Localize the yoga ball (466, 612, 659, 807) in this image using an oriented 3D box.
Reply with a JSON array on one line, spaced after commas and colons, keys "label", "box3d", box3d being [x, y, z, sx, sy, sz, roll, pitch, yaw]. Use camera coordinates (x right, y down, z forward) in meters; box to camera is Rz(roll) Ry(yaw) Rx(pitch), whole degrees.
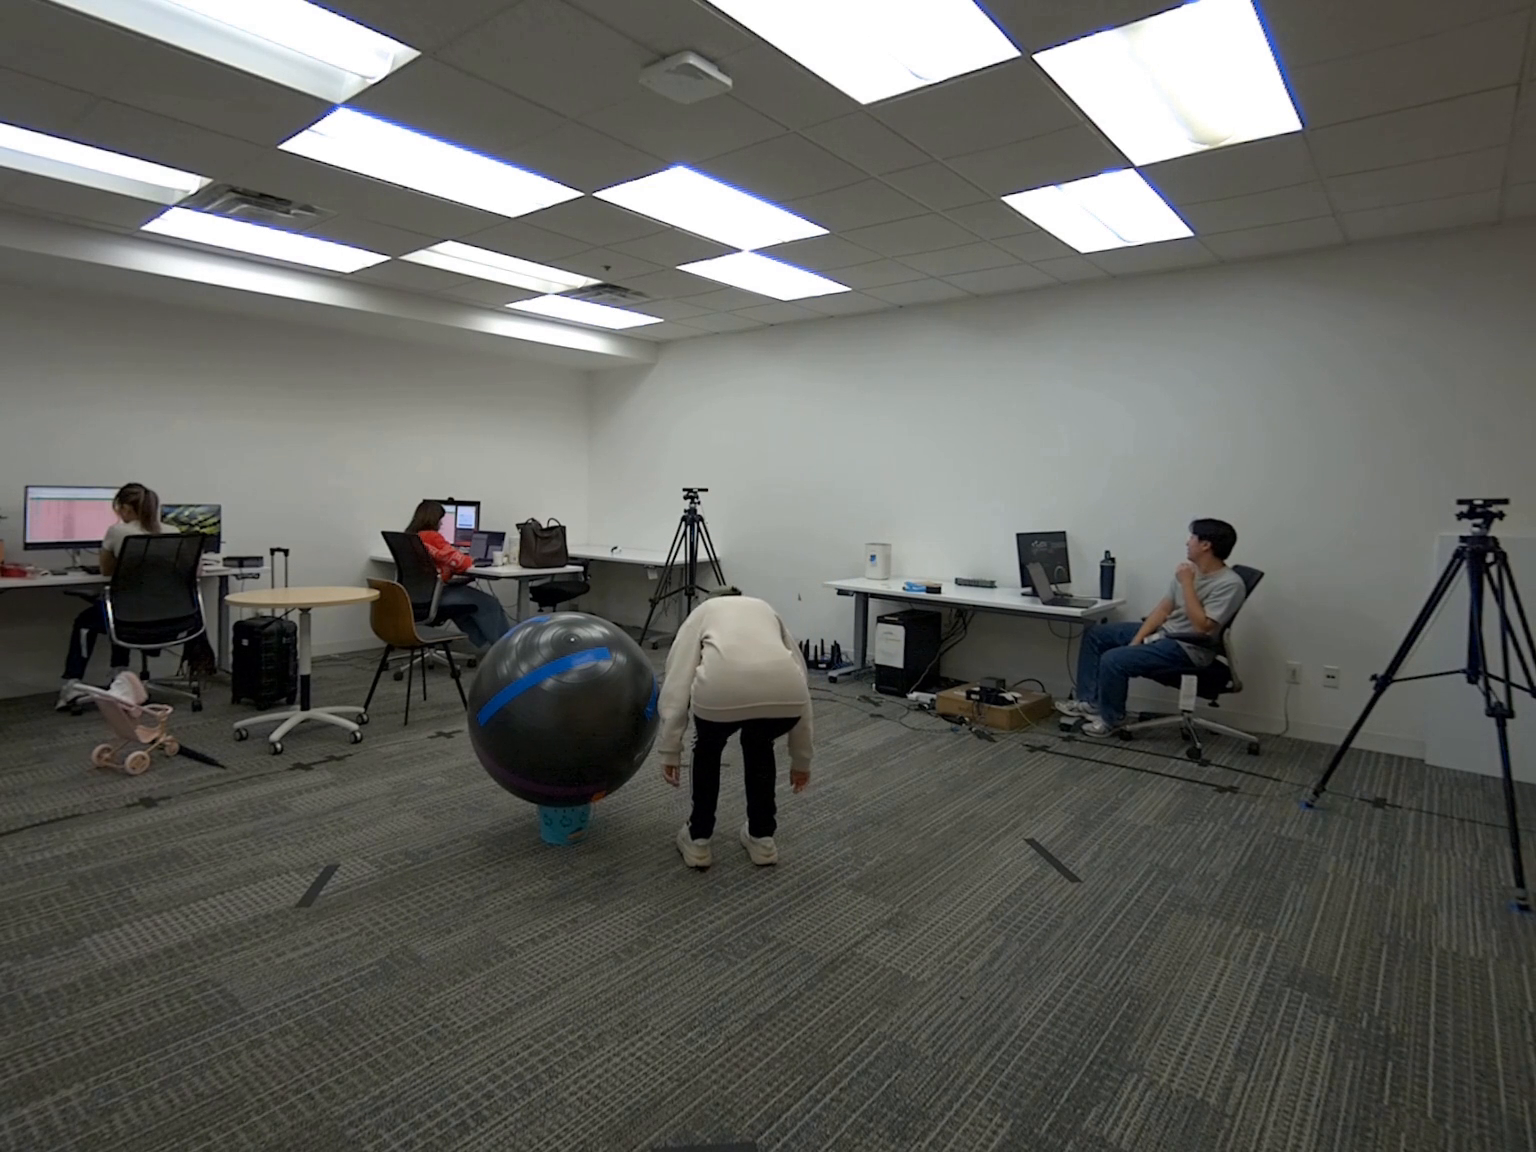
[{"label": "yoga ball", "box3d": [-0.817, 0.524, 3.383, 0.757, 0.756, 0.761, 1, 4, -2]}]
